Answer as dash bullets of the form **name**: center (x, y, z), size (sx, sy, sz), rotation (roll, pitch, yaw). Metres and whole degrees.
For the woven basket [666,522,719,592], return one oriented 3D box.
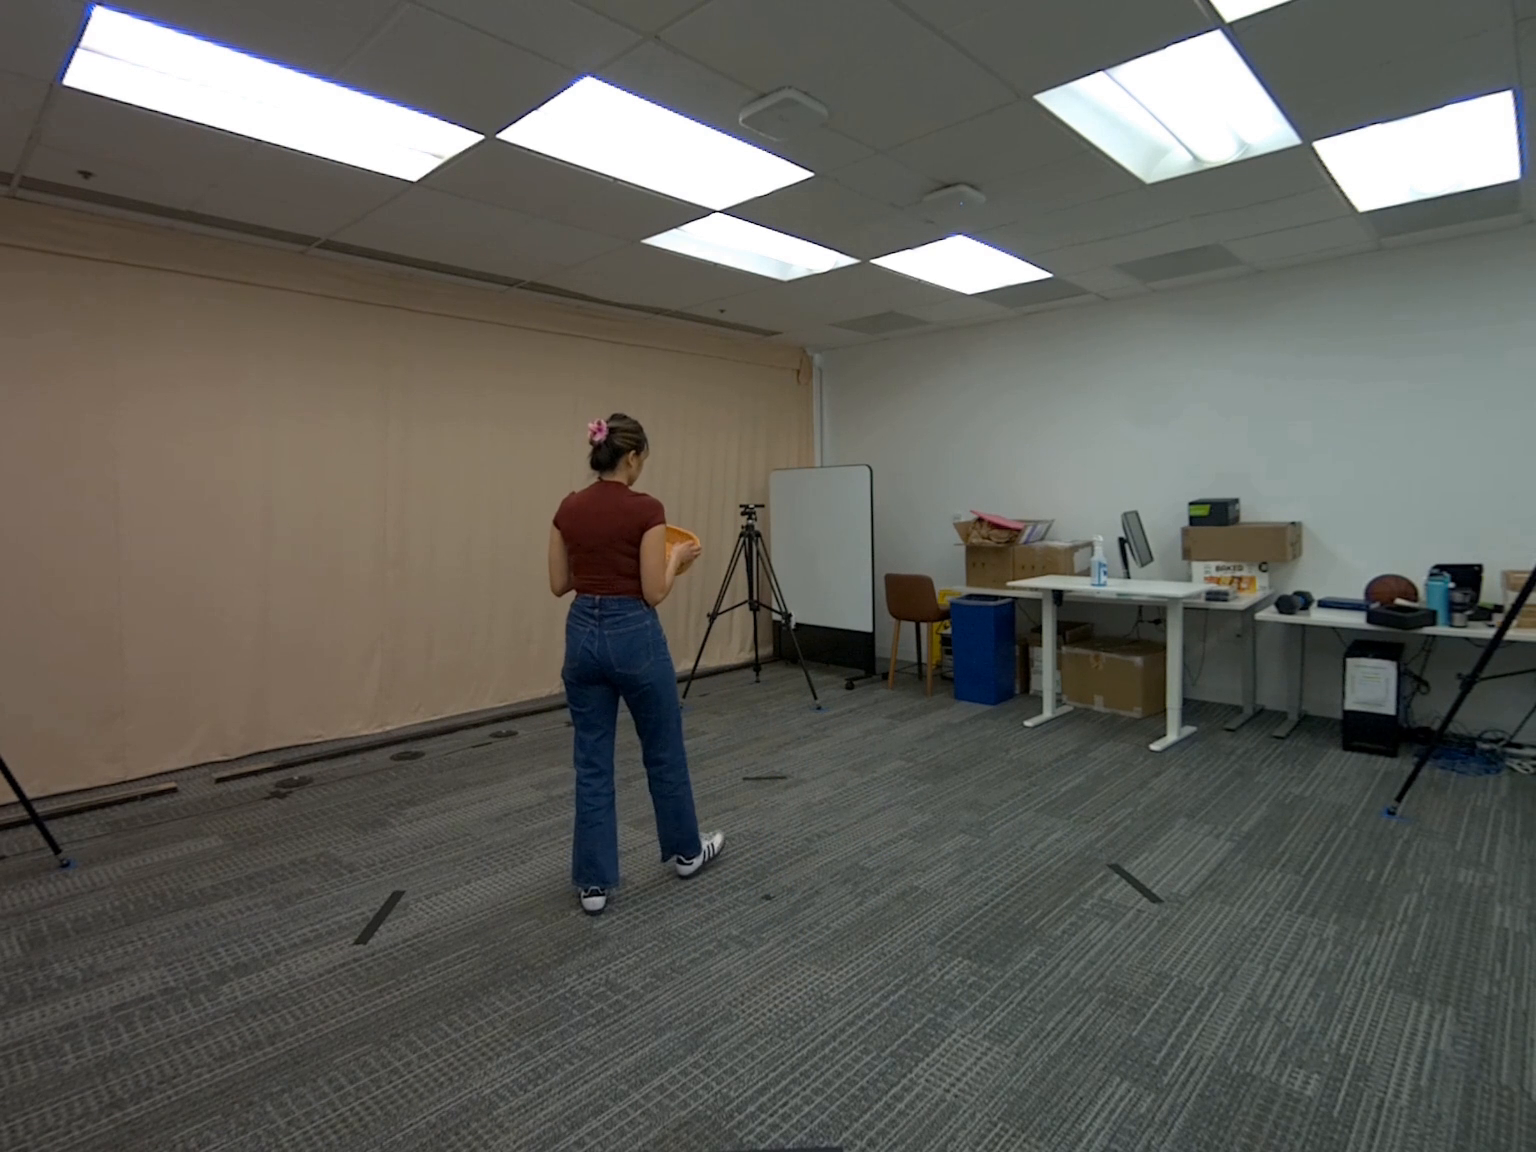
- **woven basket**: center (-0.413, -0.094, 3.277), size (0.363, 0.071, 0.250), rotation (19, 48, 35)
